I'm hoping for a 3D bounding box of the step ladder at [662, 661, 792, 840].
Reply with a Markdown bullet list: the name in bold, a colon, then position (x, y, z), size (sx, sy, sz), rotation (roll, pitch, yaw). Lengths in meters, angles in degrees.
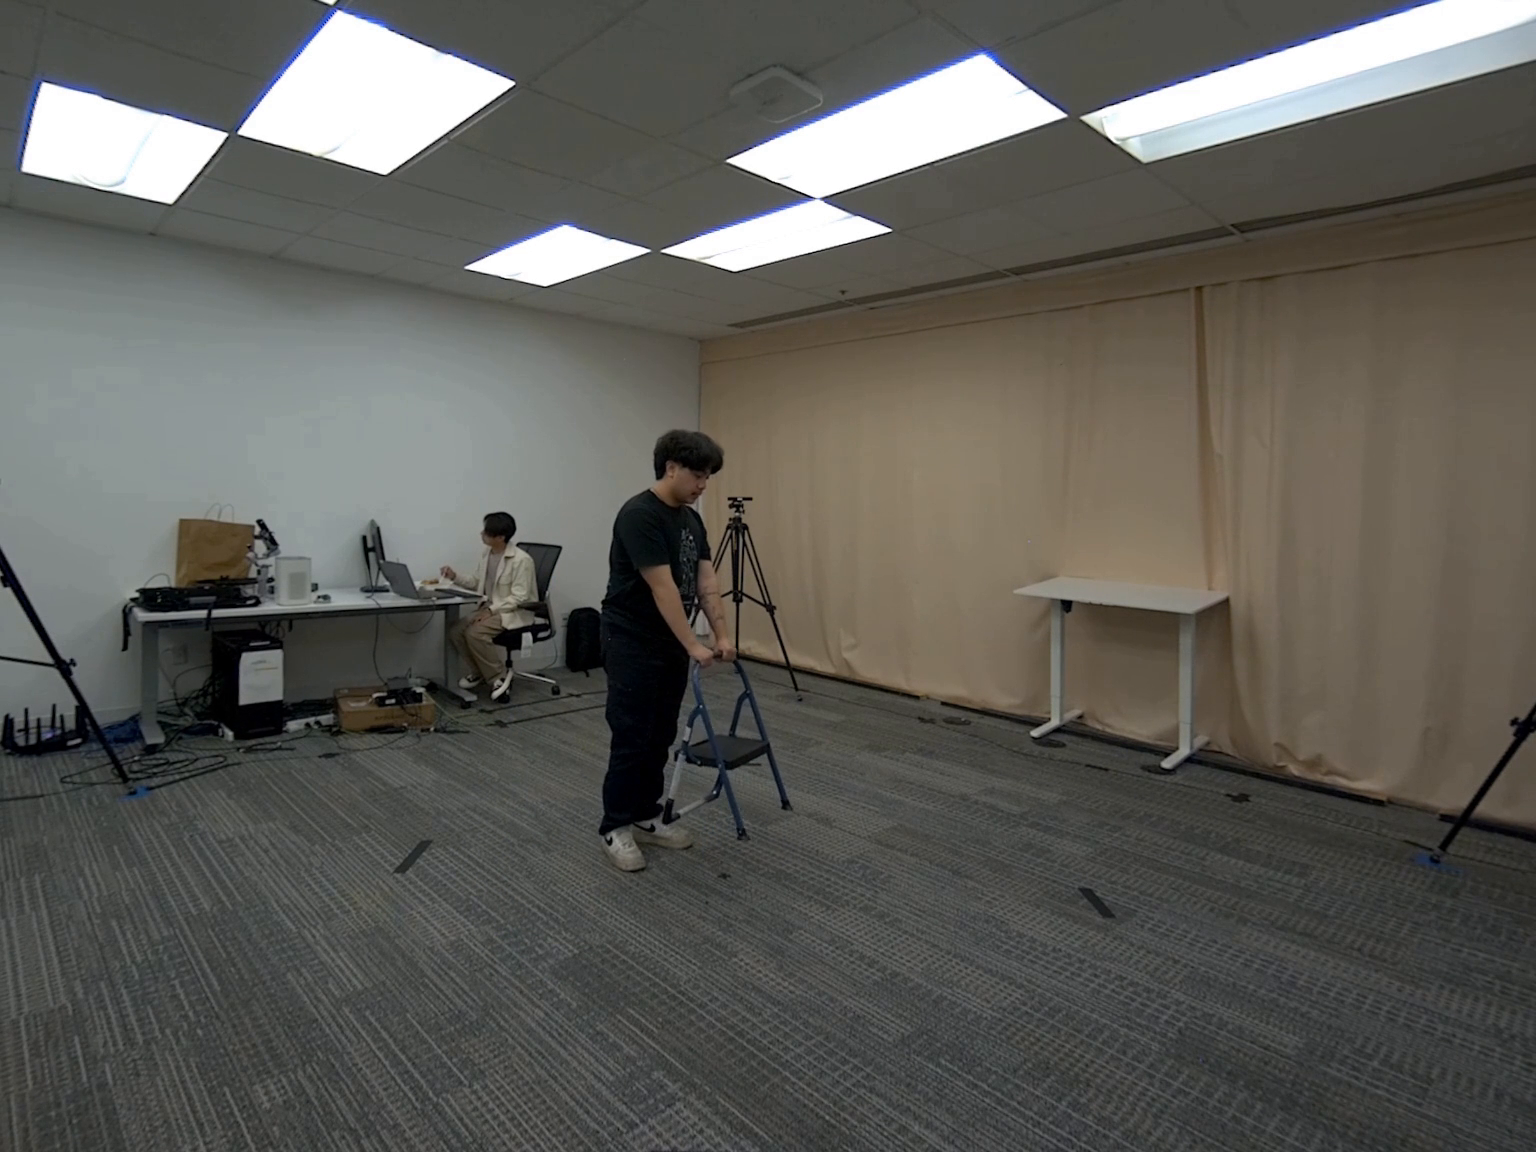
- **step ladder**: position (-0.146, 0.604, 3.152), size (0.356, 0.606, 0.422), rotation (1, 0, 25)
